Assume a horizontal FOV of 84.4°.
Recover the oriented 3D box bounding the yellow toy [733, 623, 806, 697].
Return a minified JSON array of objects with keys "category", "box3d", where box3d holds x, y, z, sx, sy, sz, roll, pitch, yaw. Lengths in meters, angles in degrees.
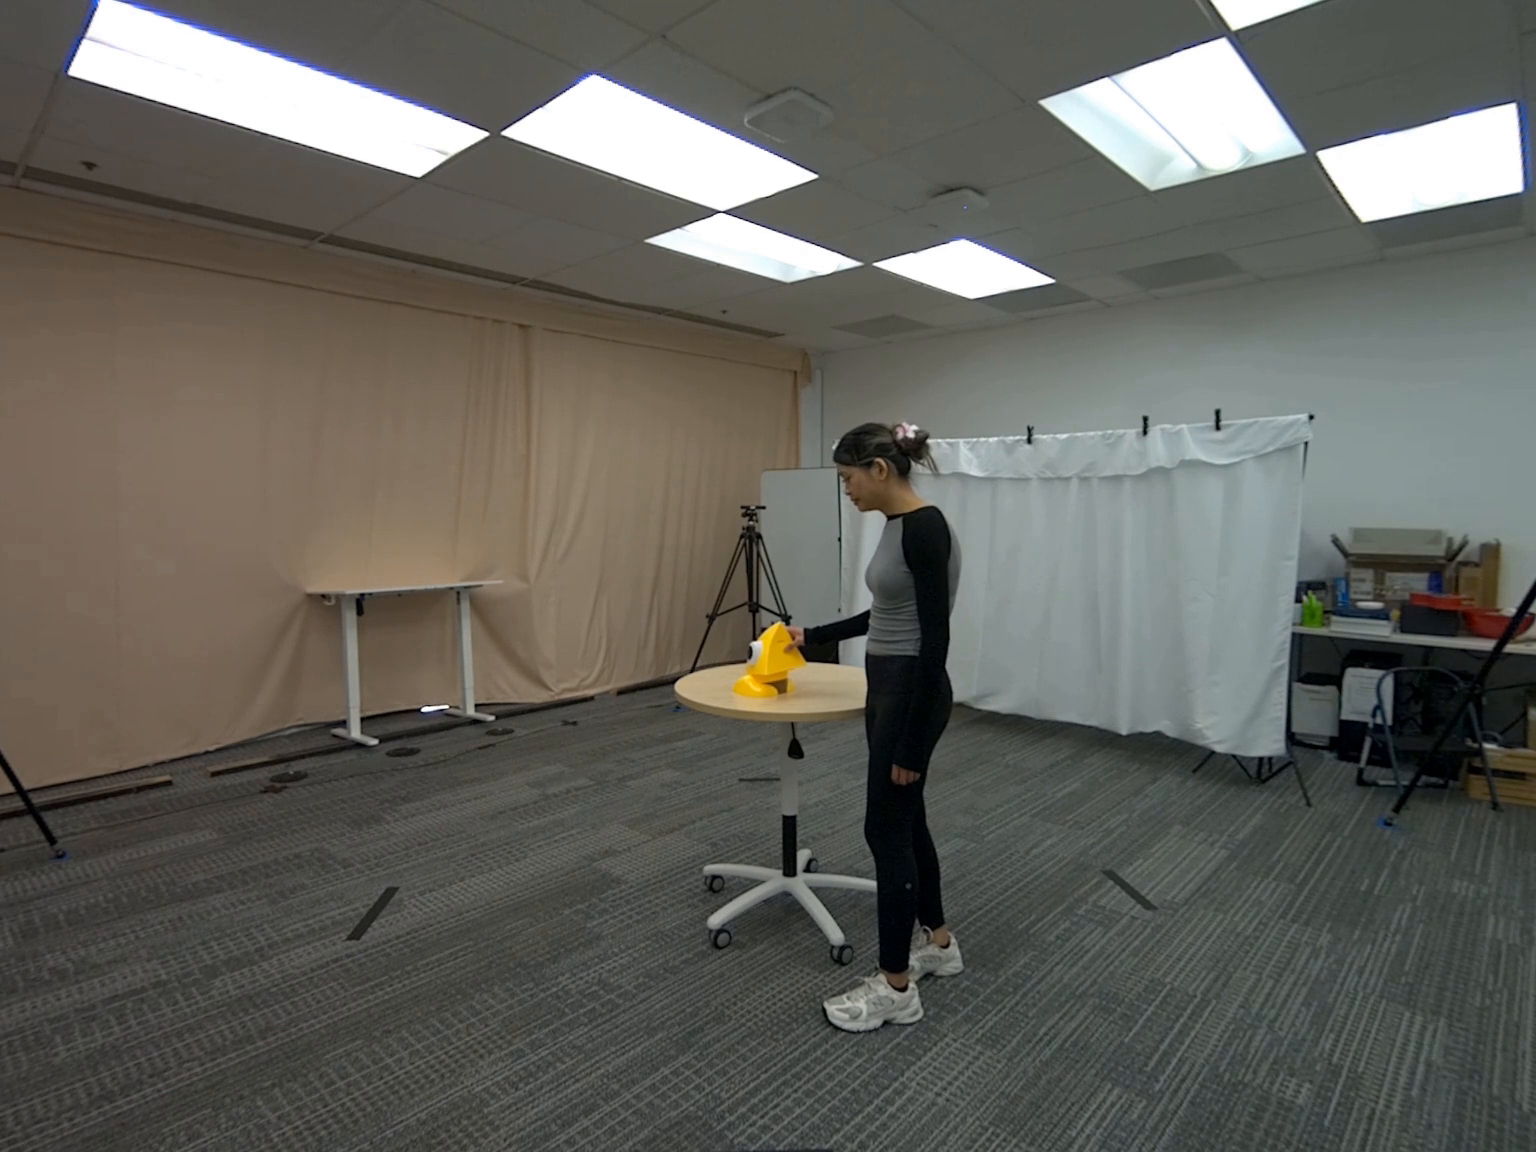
[{"category":"yellow toy","box3d":[-0.002,0.259,2.732,0.199,0.230,0.198,2,5,42]}]
